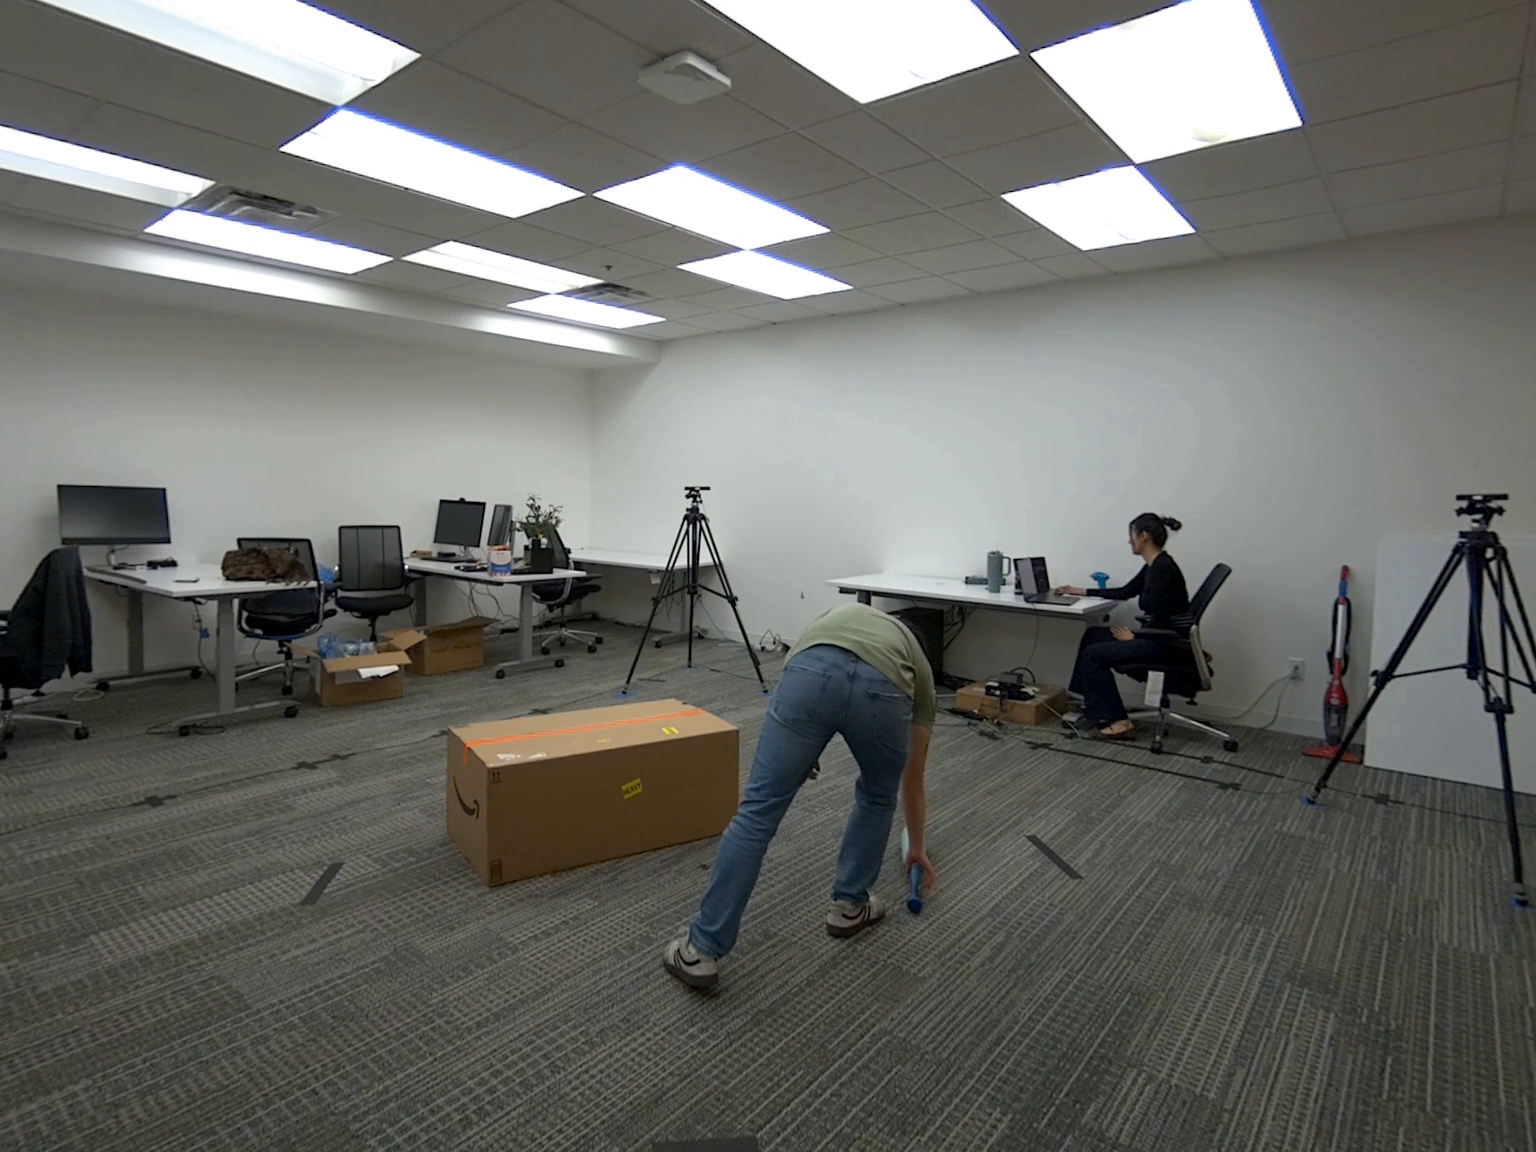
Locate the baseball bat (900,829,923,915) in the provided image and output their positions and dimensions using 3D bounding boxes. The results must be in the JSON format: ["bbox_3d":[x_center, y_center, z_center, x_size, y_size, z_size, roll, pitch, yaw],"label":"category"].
[{"bbox_3d":[0.513,1.041,3.062,0.090,0.088,0.540,1,8,8],"label":"baseball bat"}]
